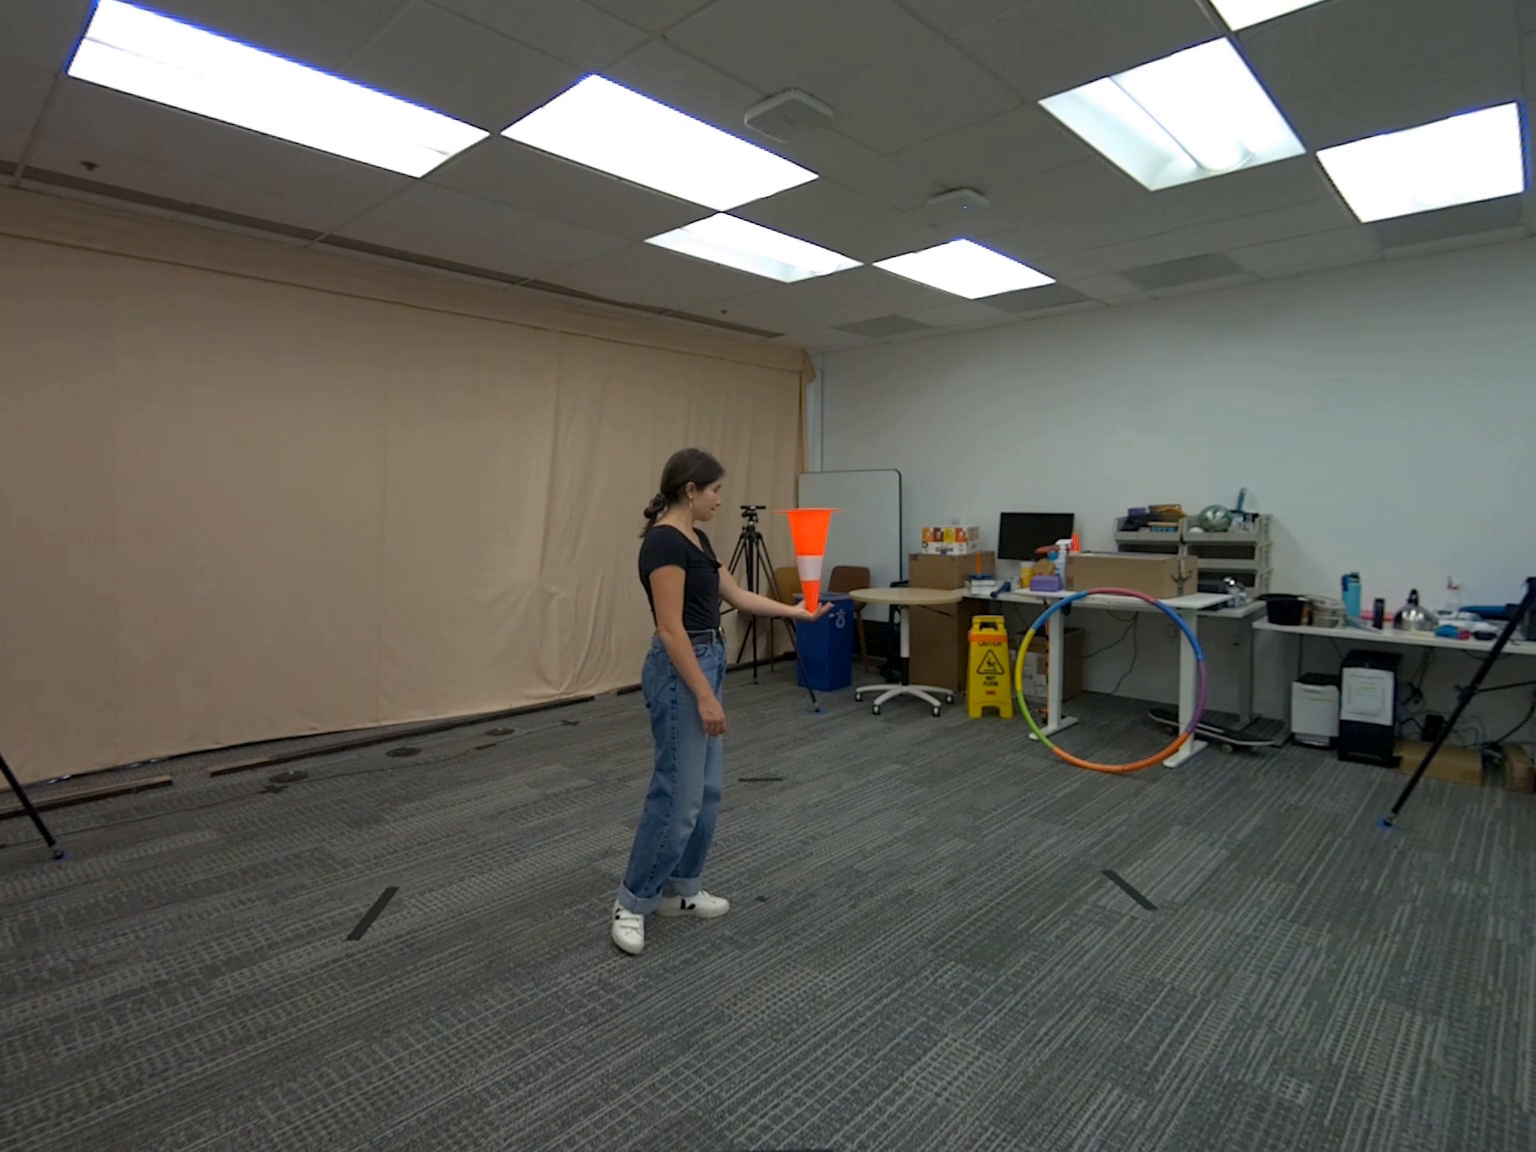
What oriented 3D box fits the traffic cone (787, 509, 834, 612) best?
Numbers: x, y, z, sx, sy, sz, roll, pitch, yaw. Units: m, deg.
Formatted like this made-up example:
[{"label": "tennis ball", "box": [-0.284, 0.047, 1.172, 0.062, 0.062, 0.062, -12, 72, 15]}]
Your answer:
[{"label": "traffic cone", "box": [0.168, -0.047, 3.115, 0.198, 0.384, 0.210, 0, -1, -26]}]
